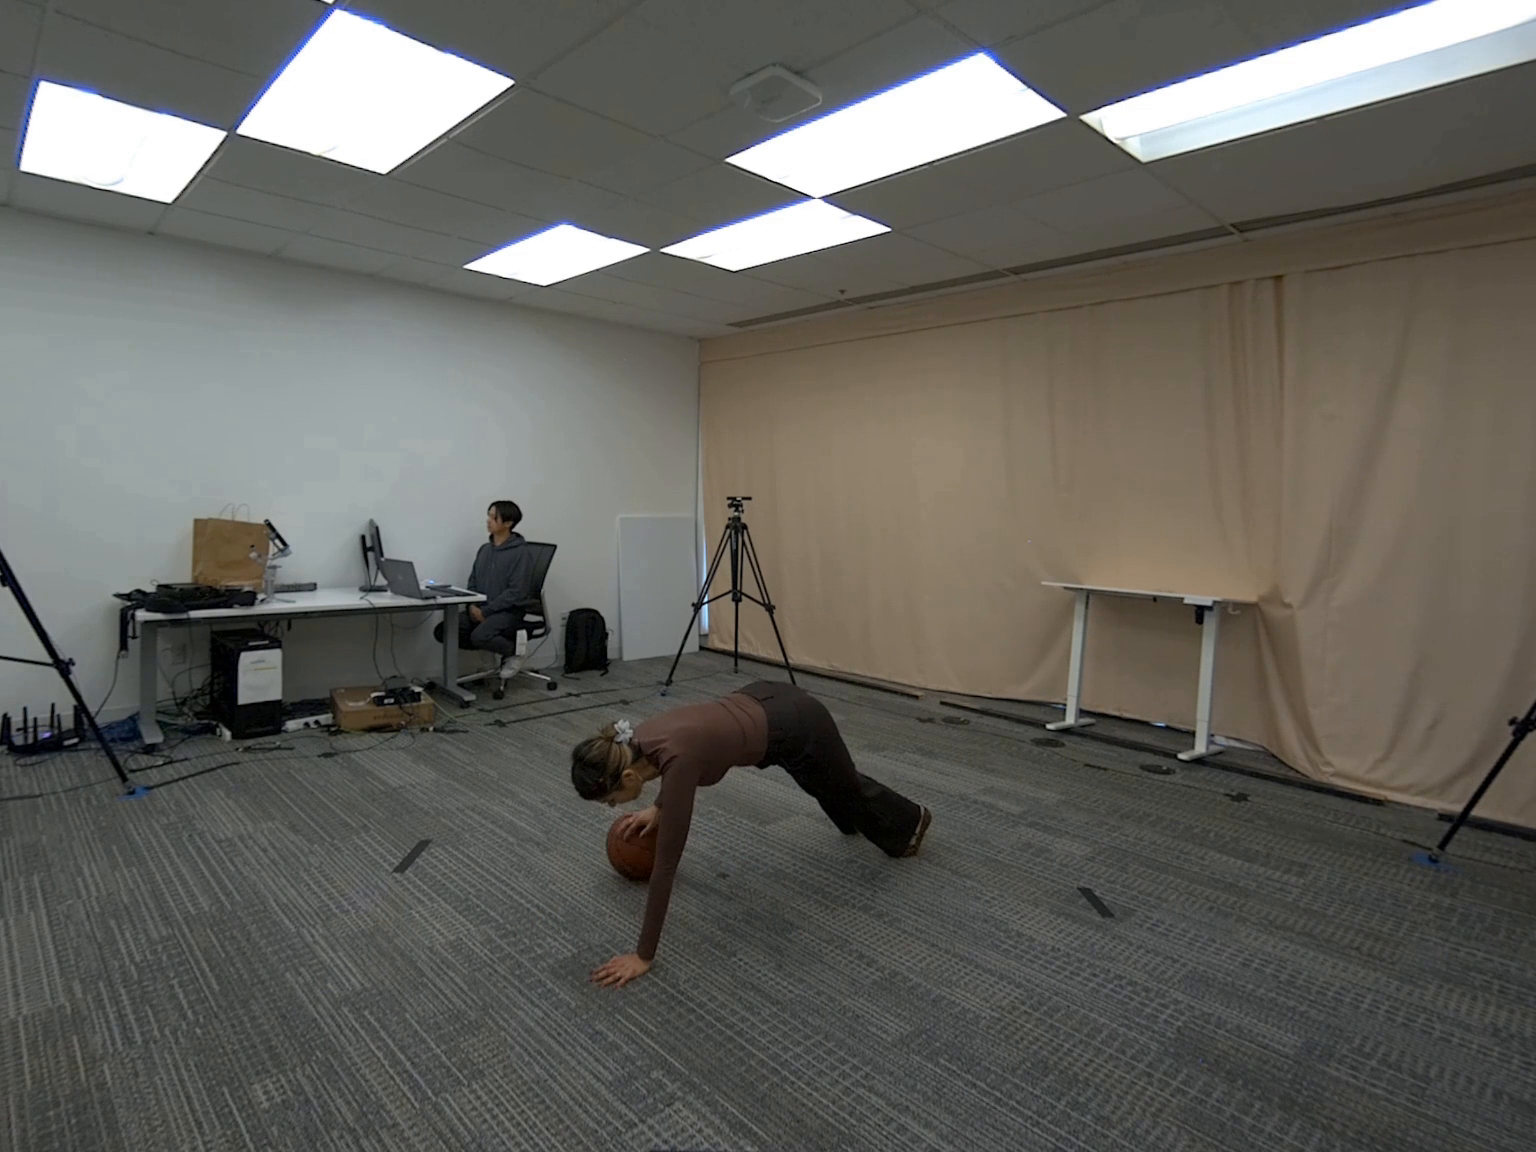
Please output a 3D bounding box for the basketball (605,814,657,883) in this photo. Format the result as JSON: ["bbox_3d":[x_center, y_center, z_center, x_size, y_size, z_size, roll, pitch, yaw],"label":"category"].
[{"bbox_3d":[-0.467,0.975,3.074,0.236,0.235,0.237,1,4,-1],"label":"basketball"}]
